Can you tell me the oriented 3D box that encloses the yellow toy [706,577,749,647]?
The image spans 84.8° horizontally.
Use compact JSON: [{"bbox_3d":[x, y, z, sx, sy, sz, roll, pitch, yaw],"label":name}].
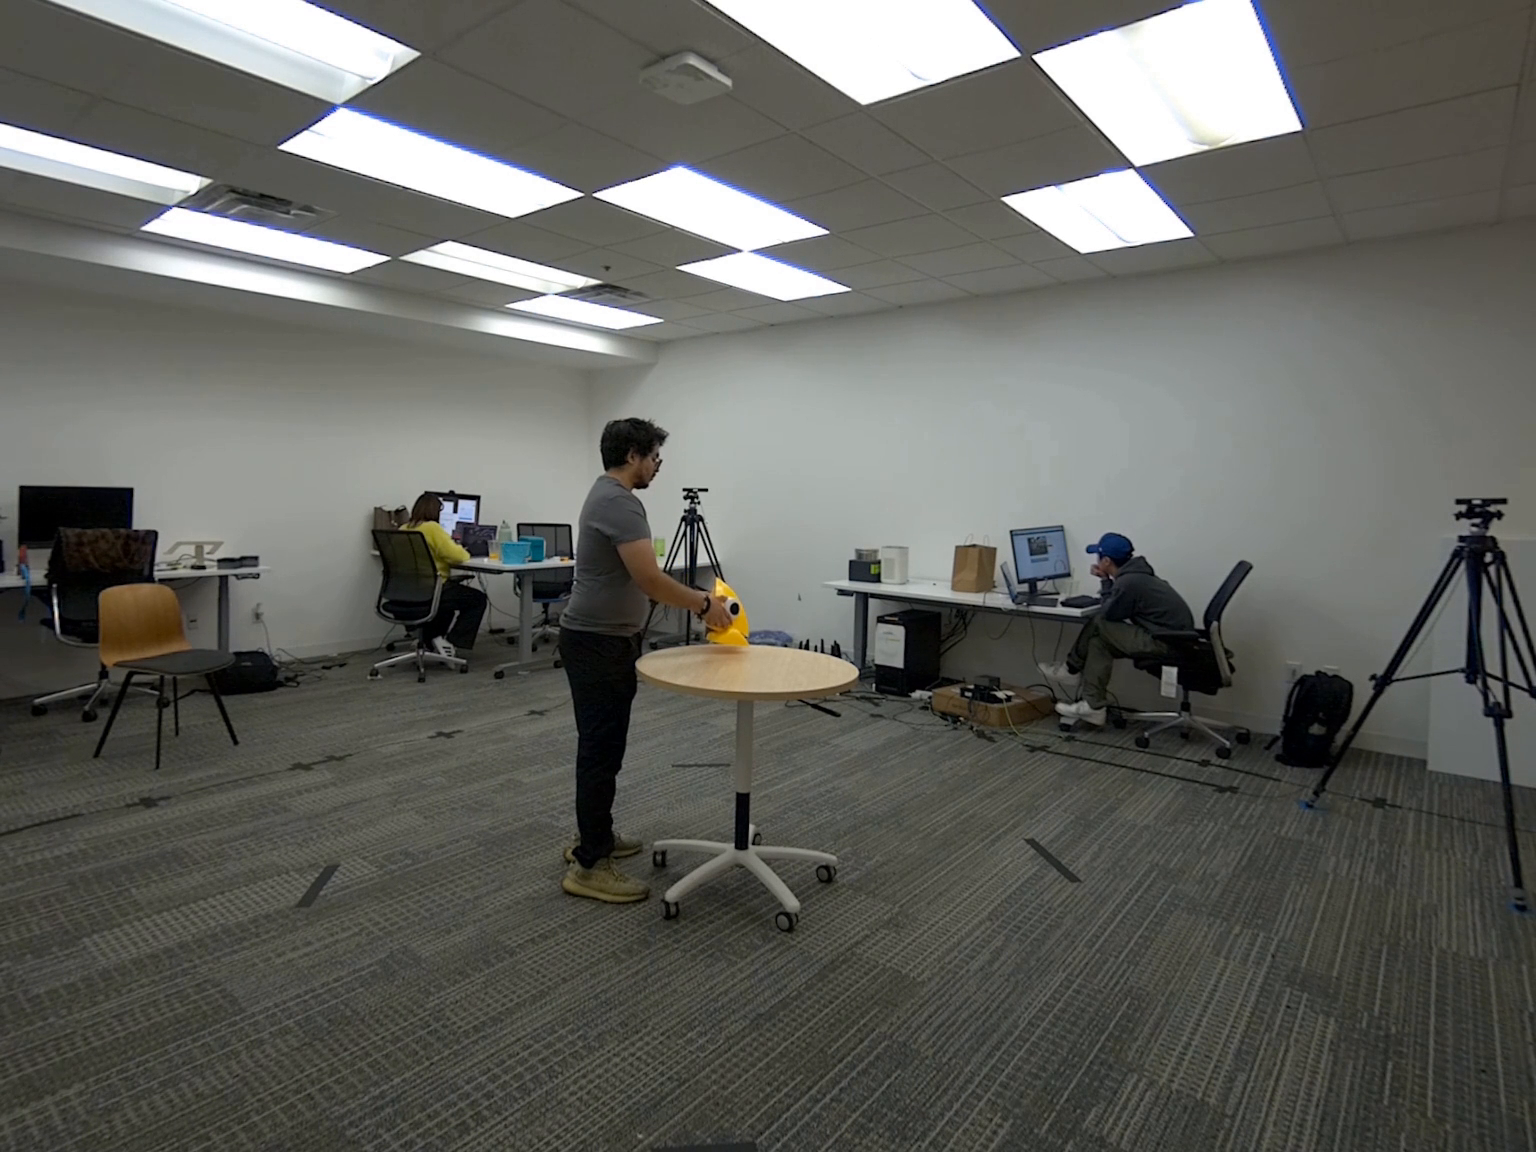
[{"bbox_3d":[-0.165,0.126,3.197,0.190,0.230,0.208,9,1,-12],"label":"yellow toy"}]
